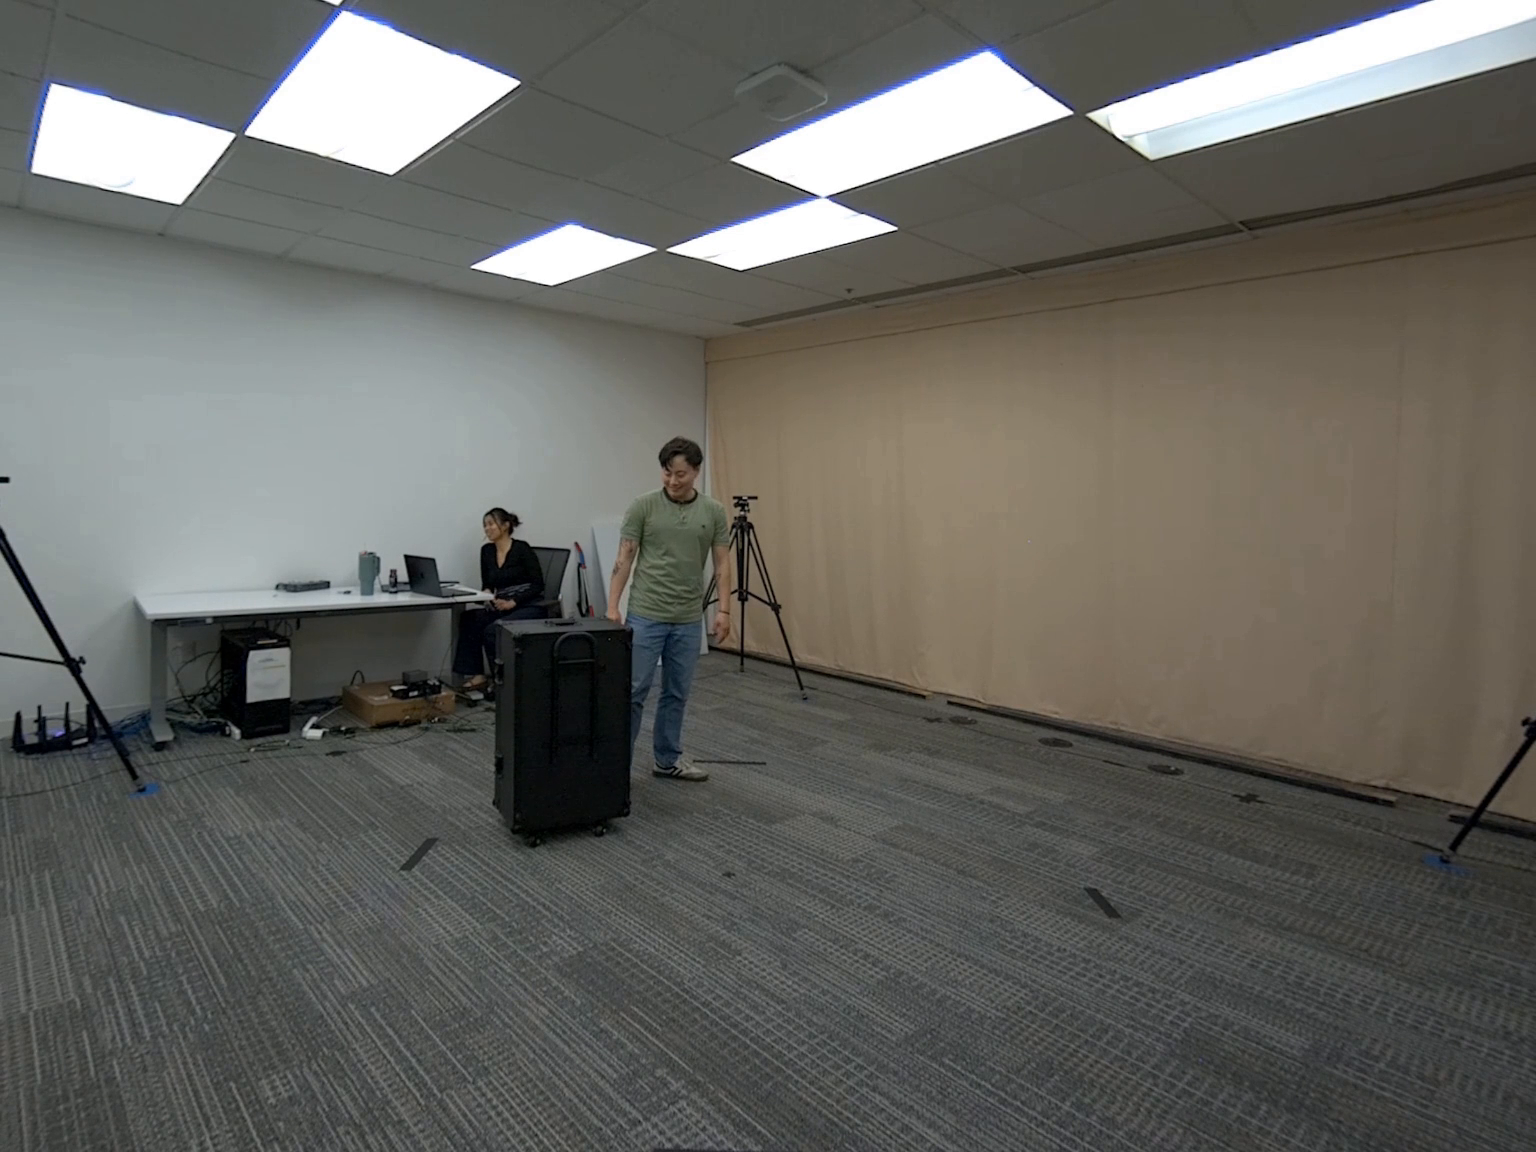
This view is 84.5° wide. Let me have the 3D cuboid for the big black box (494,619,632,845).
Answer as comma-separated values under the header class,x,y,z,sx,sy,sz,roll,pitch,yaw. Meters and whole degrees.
class,x,y,z,sx,sy,sz,roll,pitch,yaw
big black box,-0.859,0.624,3.488,0.511,0.859,0.405,0,5,-28
